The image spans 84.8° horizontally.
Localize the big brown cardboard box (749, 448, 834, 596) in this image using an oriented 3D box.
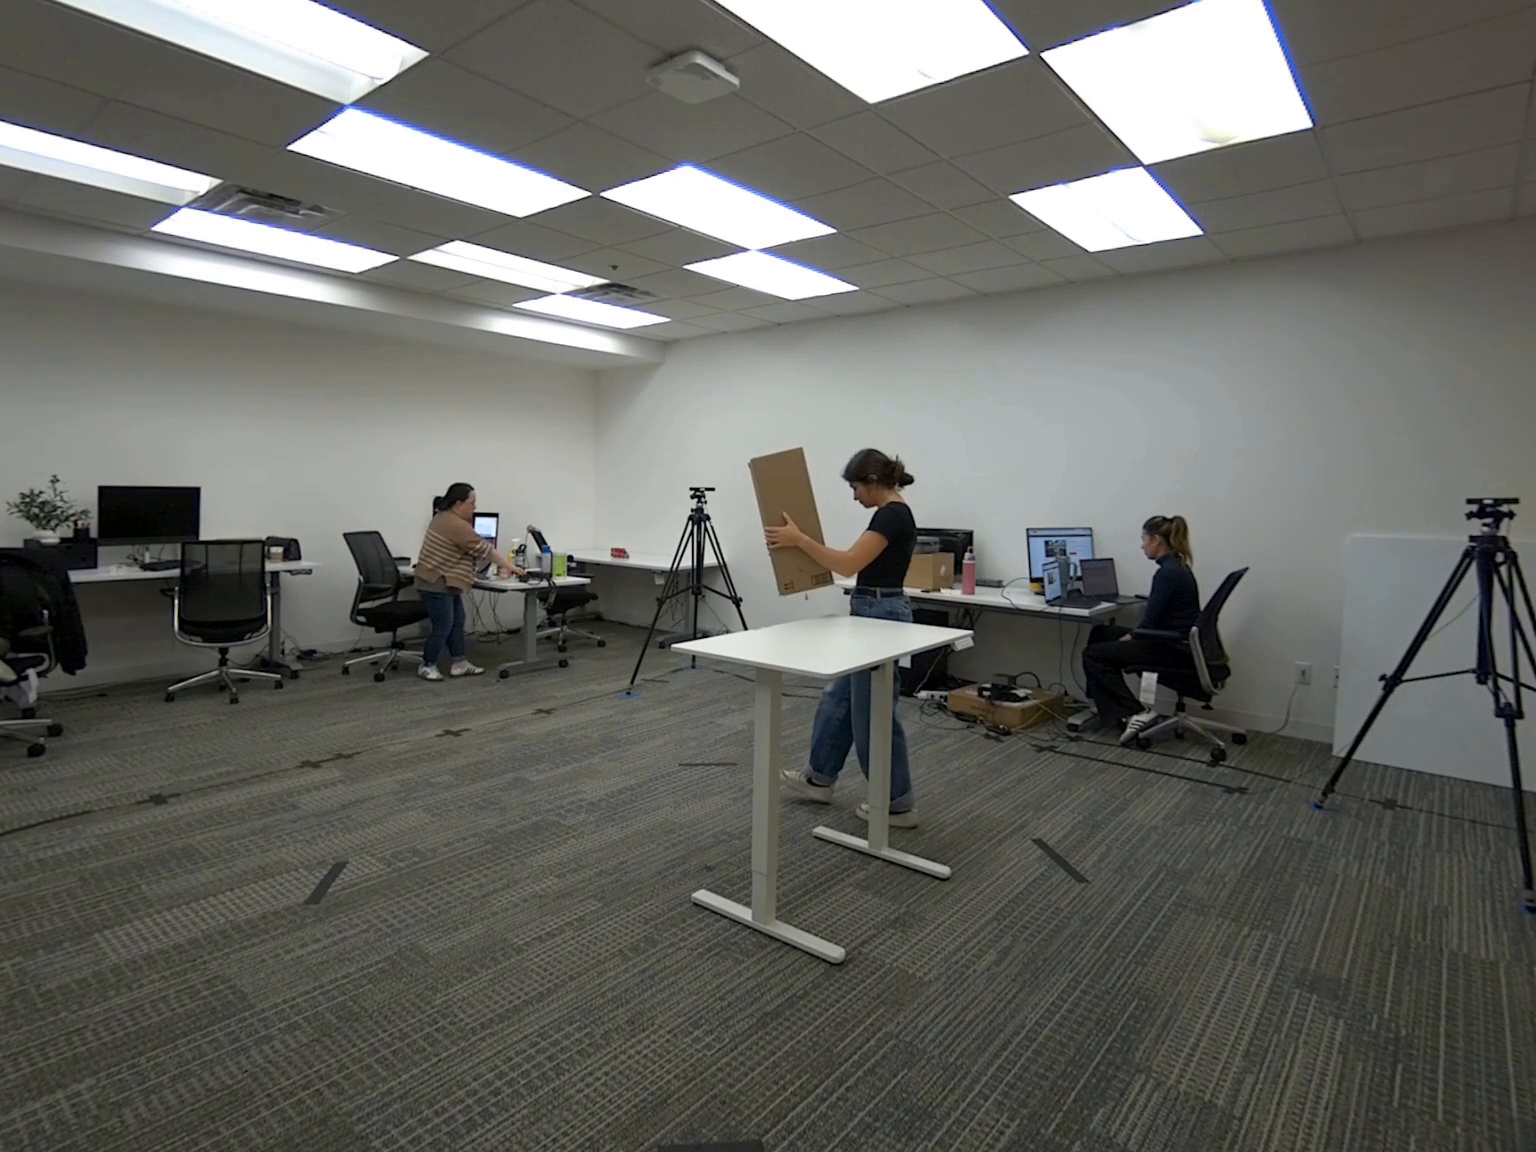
[{"bbox_3d":[0.088,-0.235,3.622,0.233,0.591,0.415,-13,-2,1],"label":"big brown cardboard box"}]
